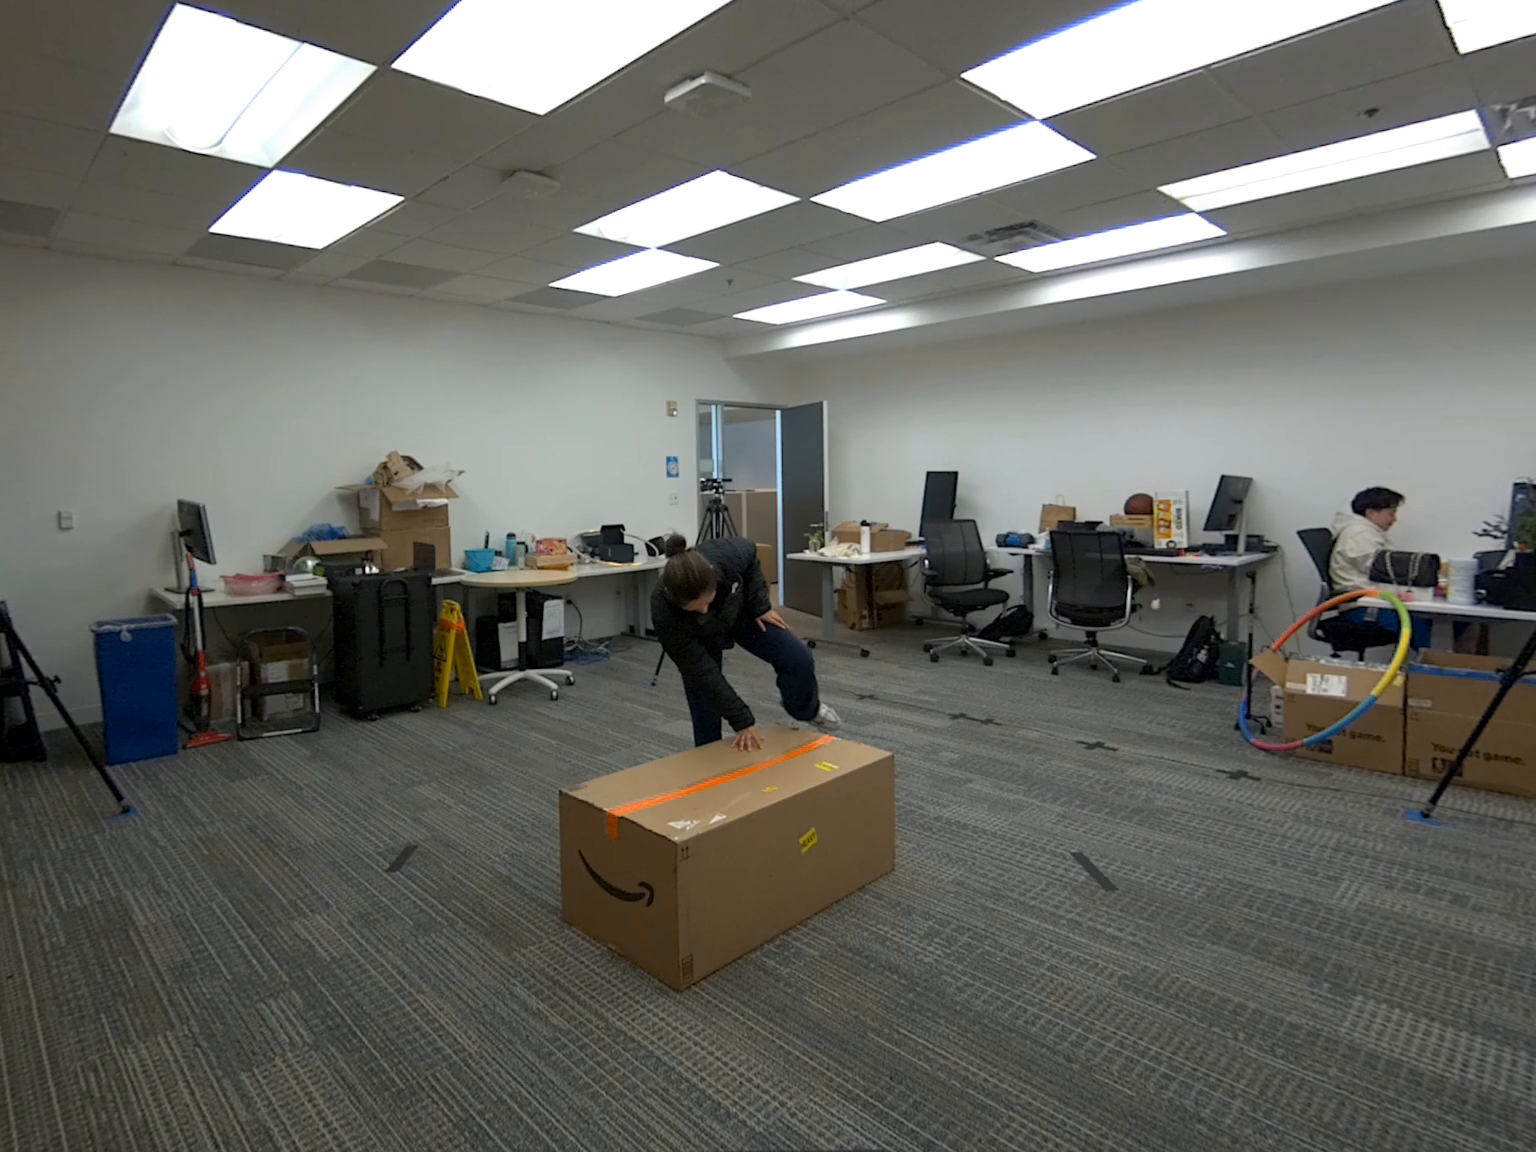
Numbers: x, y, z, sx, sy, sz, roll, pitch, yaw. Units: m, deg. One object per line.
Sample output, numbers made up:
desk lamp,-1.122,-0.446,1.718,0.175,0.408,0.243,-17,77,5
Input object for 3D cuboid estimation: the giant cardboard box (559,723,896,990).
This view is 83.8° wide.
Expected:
giant cardboard box,-0.107,0.862,2.884,0.601,0.445,1.001,2,7,44
